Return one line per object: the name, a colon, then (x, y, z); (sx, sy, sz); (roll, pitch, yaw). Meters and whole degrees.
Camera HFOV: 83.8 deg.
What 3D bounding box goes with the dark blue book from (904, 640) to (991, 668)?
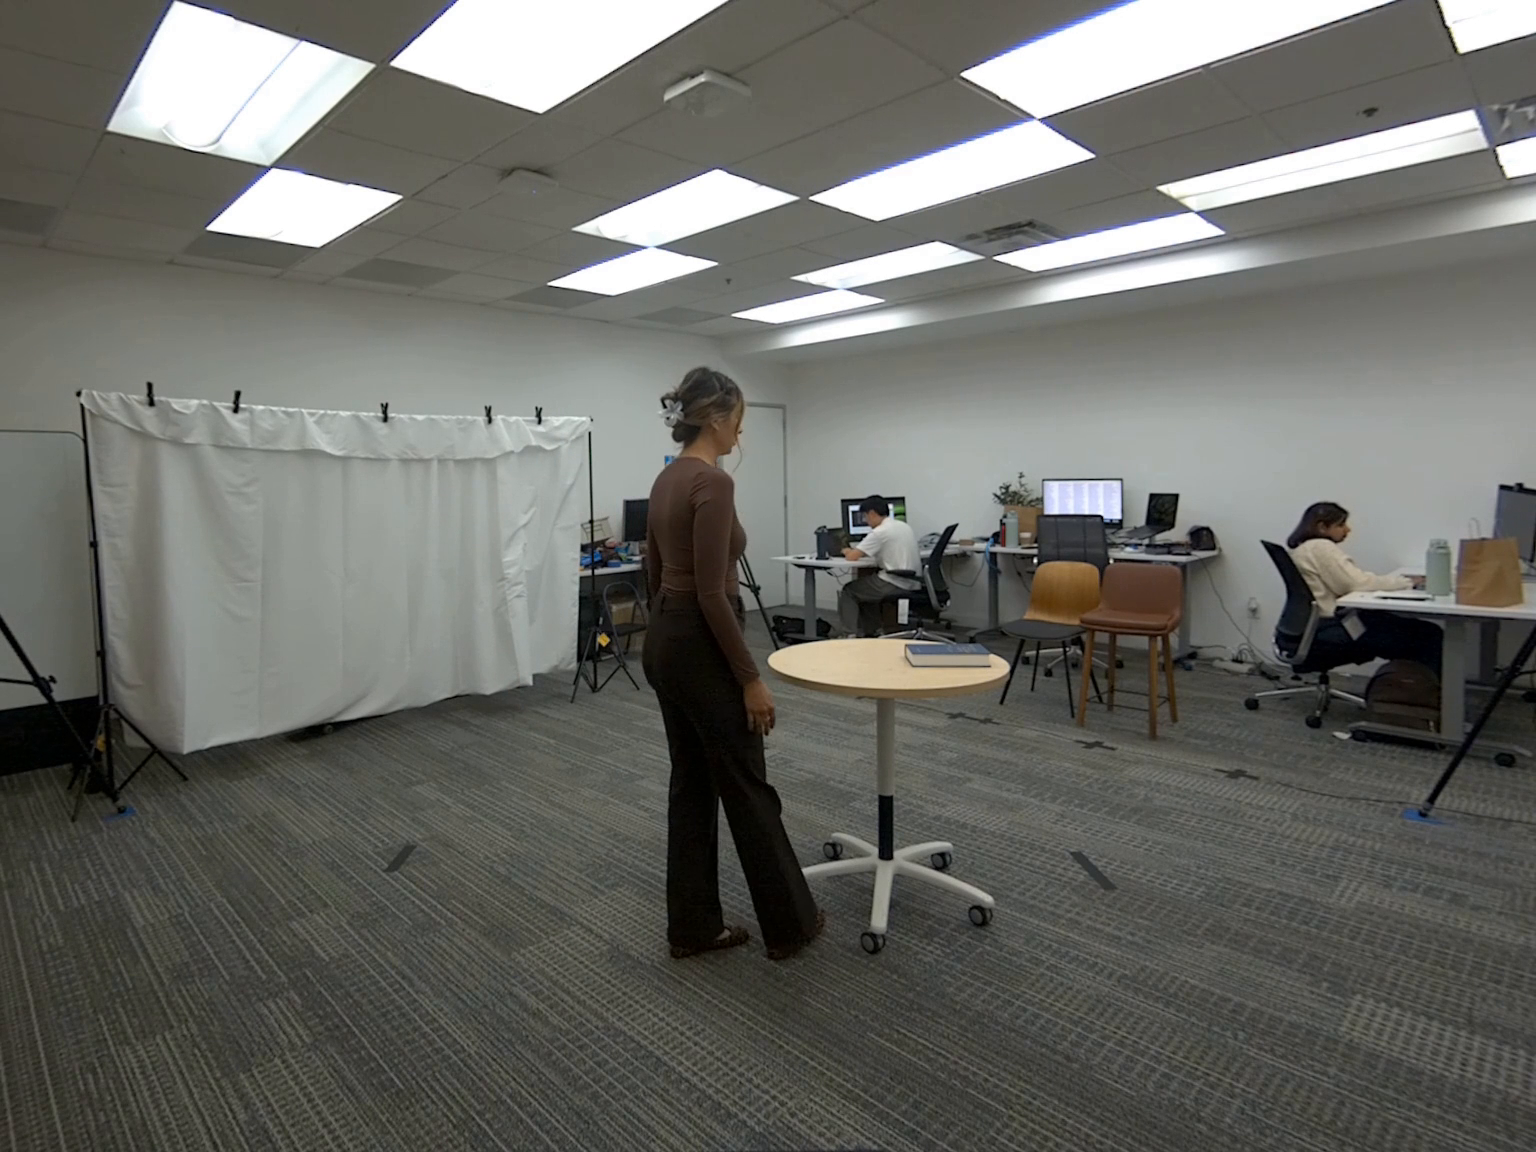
dark blue book: (0.586, 0.254, 2.747); (0.246, 0.045, 0.164); (-1, 7, 2)
